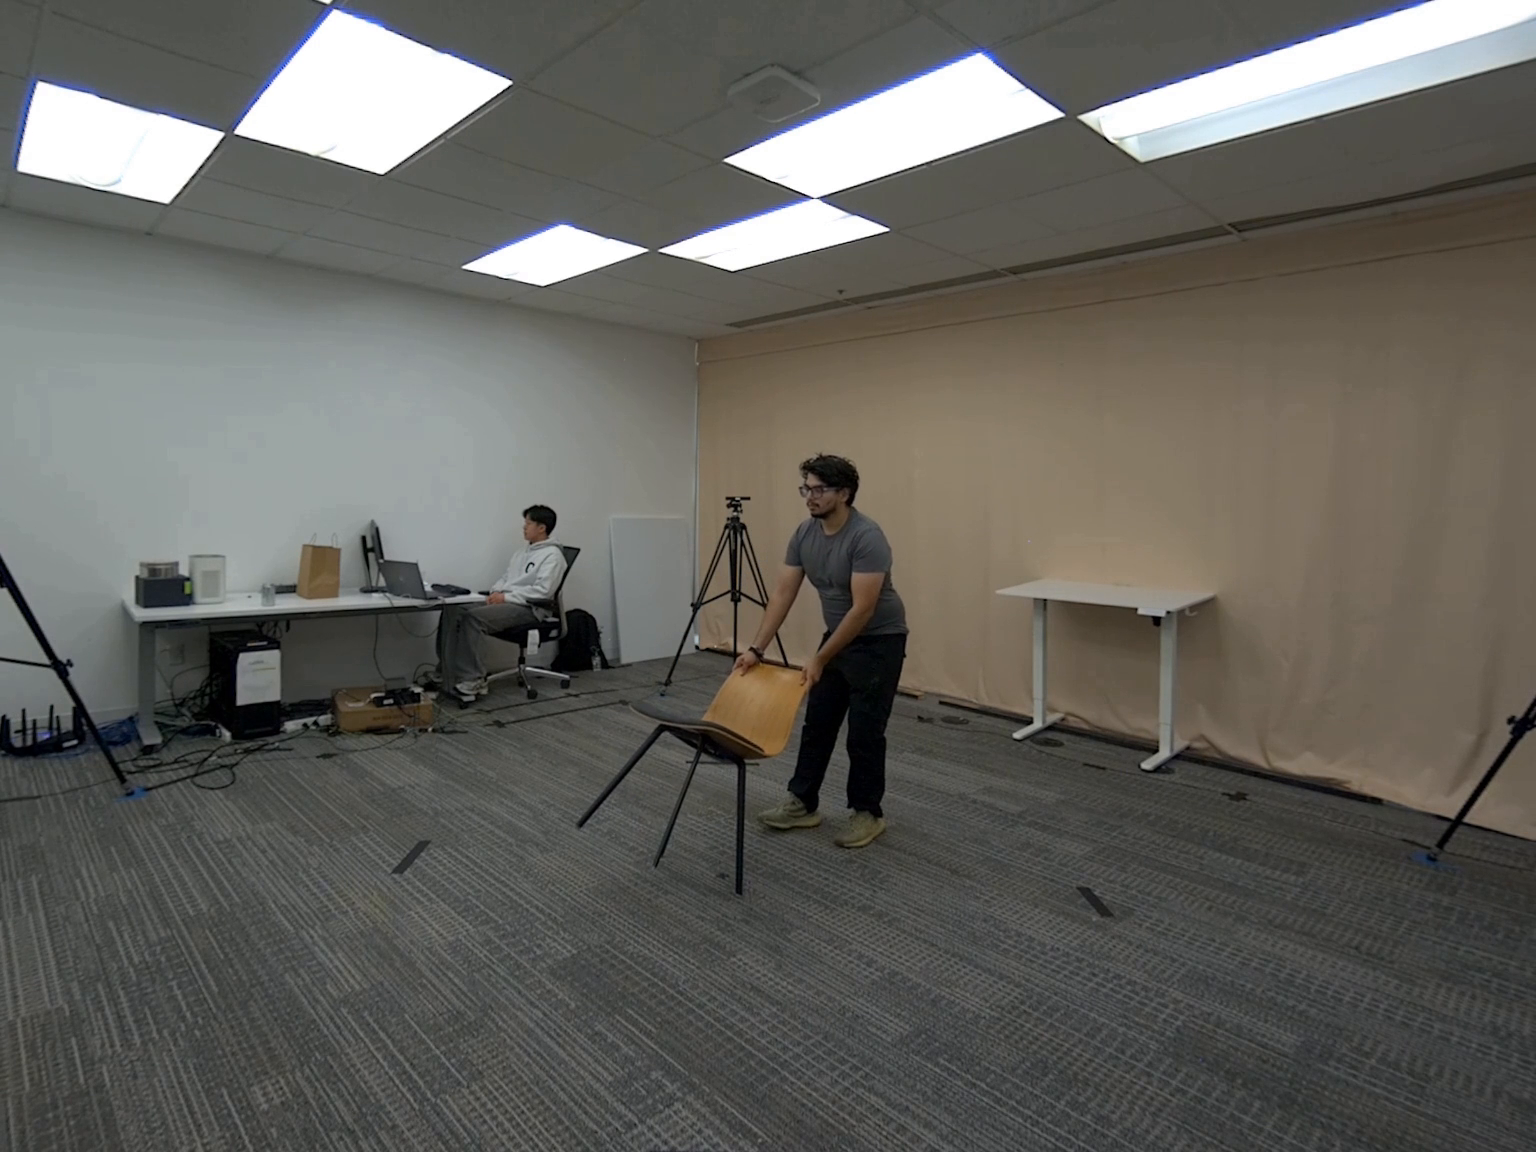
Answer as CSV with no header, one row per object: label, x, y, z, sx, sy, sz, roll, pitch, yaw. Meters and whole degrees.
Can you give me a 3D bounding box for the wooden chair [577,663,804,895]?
wooden chair,-0.248,0.618,3.073,0.490,0.882,0.507,5,-28,45
